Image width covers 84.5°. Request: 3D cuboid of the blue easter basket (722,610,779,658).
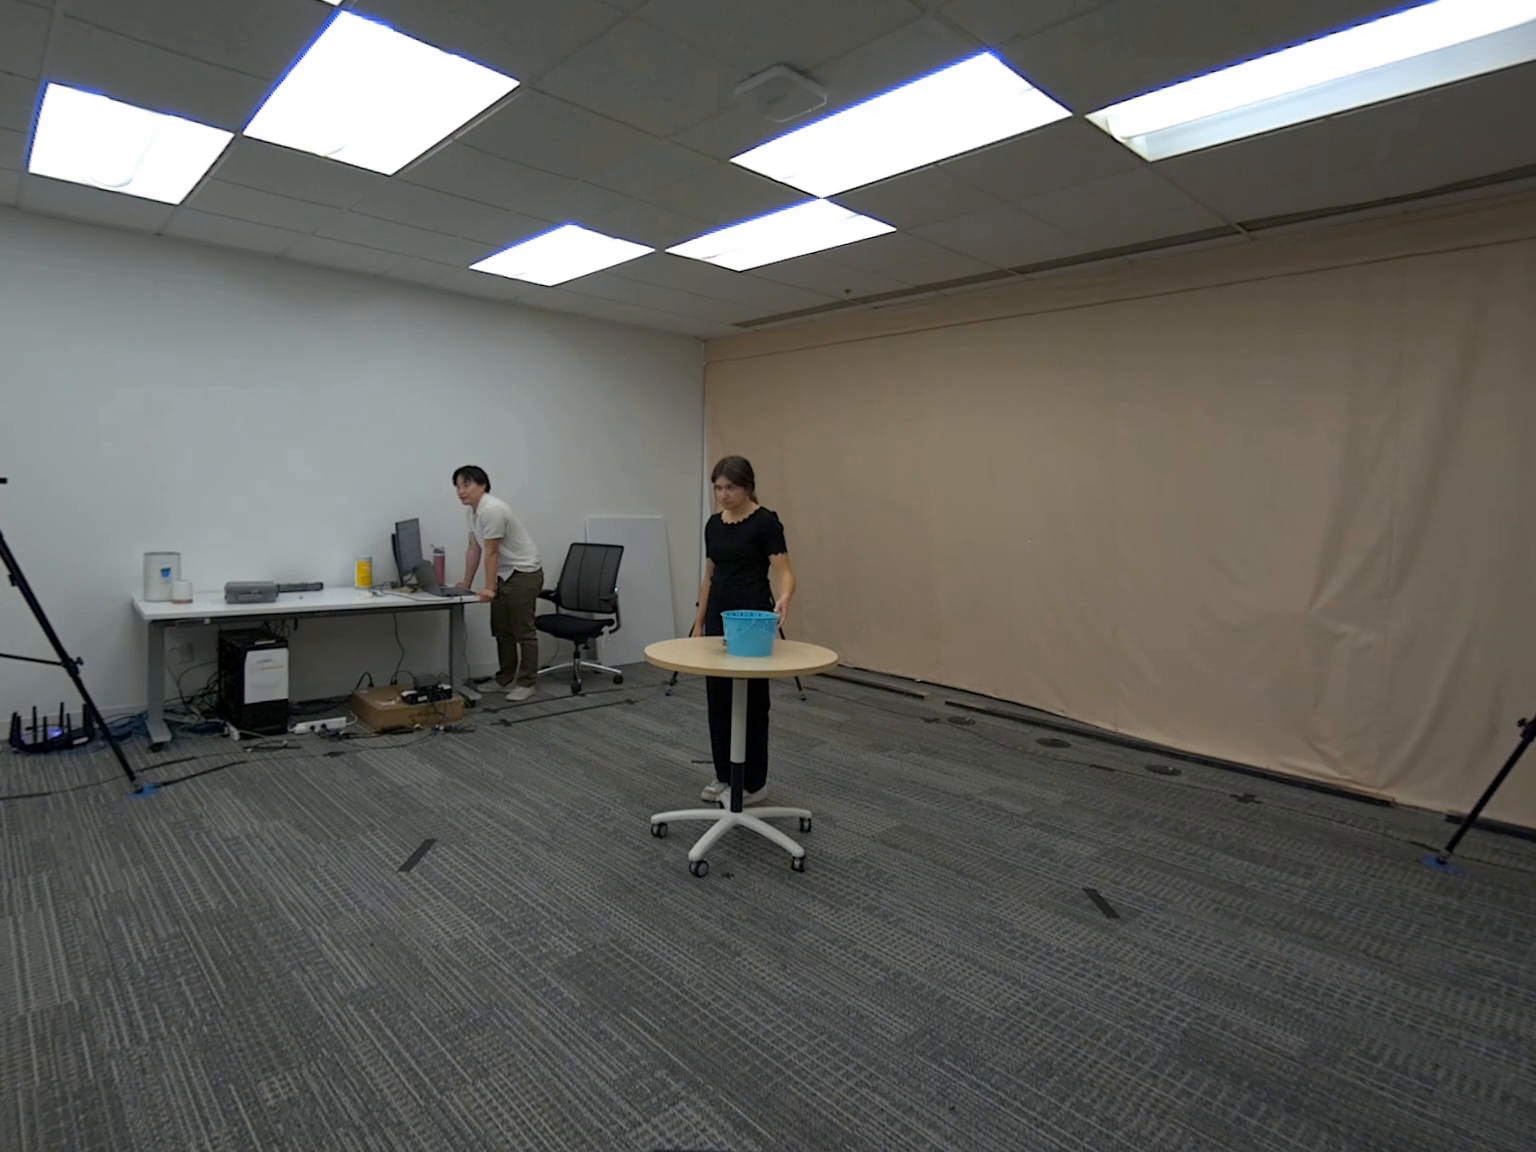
[{"bbox_3d":[-0.085,0.230,3.330,0.243,0.155,0.244,1,3,-1],"label":"blue easter basket"}]
